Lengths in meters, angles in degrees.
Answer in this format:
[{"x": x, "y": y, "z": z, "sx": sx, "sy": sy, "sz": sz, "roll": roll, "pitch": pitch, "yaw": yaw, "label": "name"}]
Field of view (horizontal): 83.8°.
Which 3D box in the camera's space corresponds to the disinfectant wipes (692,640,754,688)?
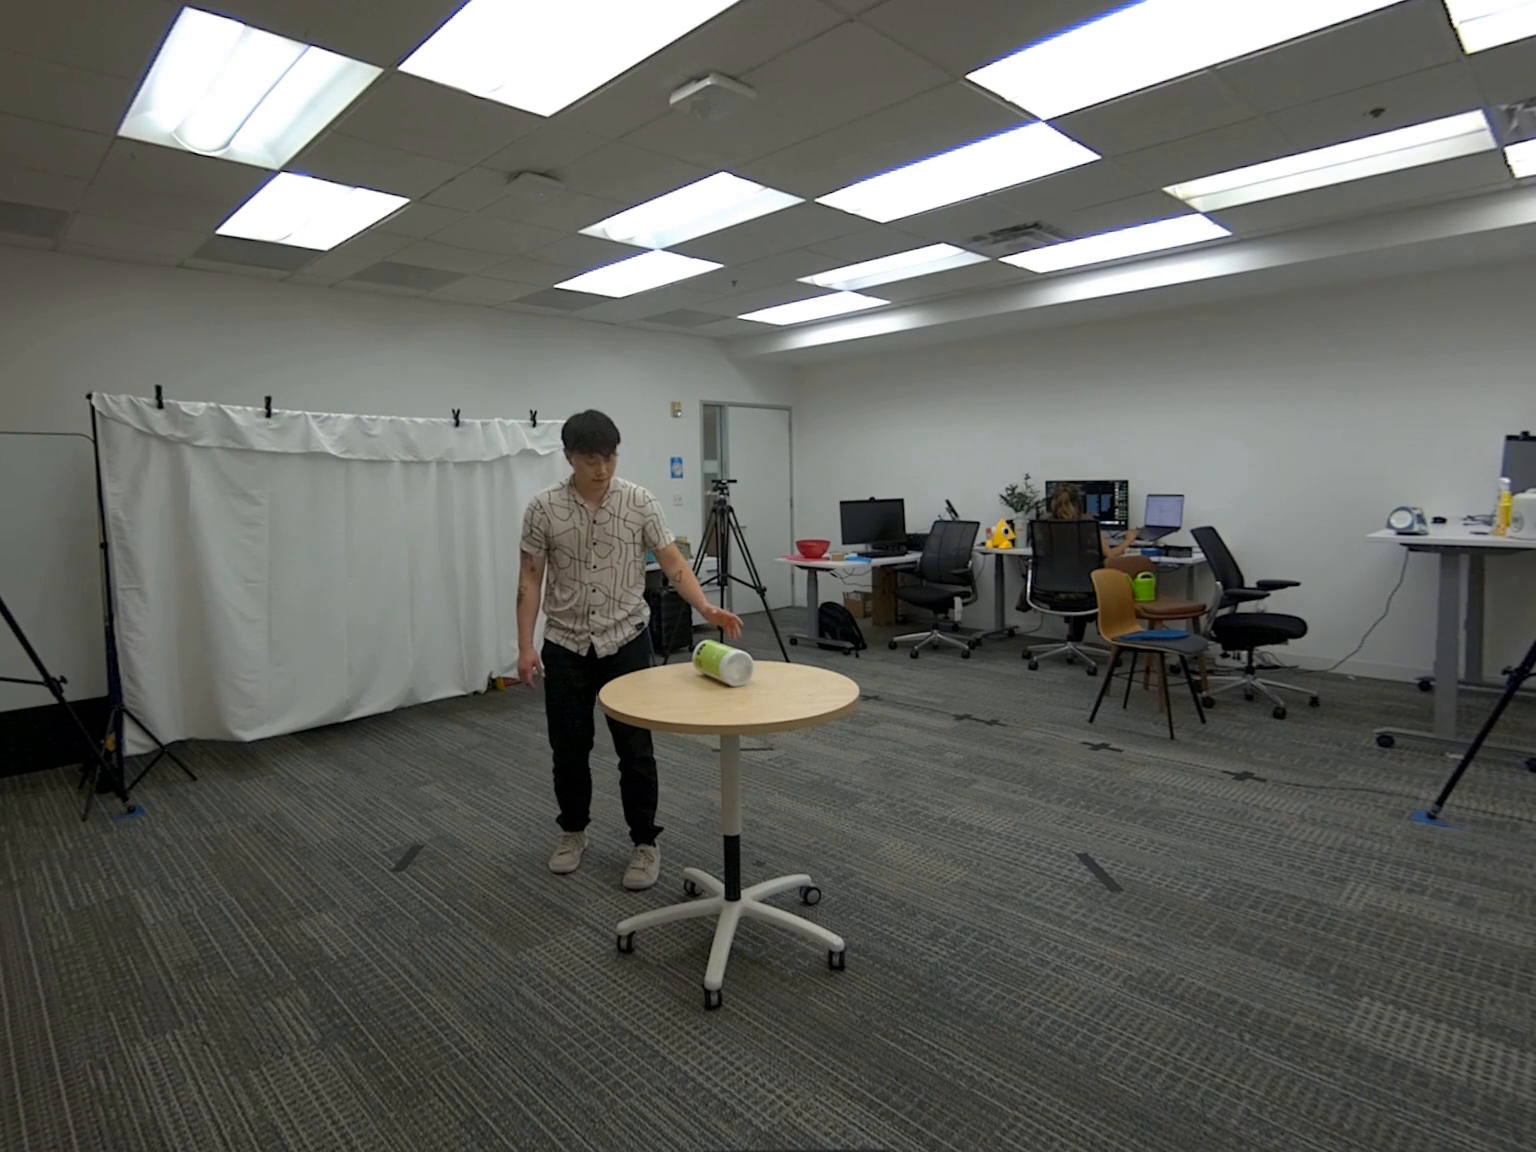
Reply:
[{"x": -0.140, "y": 0.264, "z": 2.632, "sx": 0.115, "sy": 0.117, "sz": 0.223, "roll": -3, "pitch": 7, "yaw": -27, "label": "disinfectant wipes"}]
